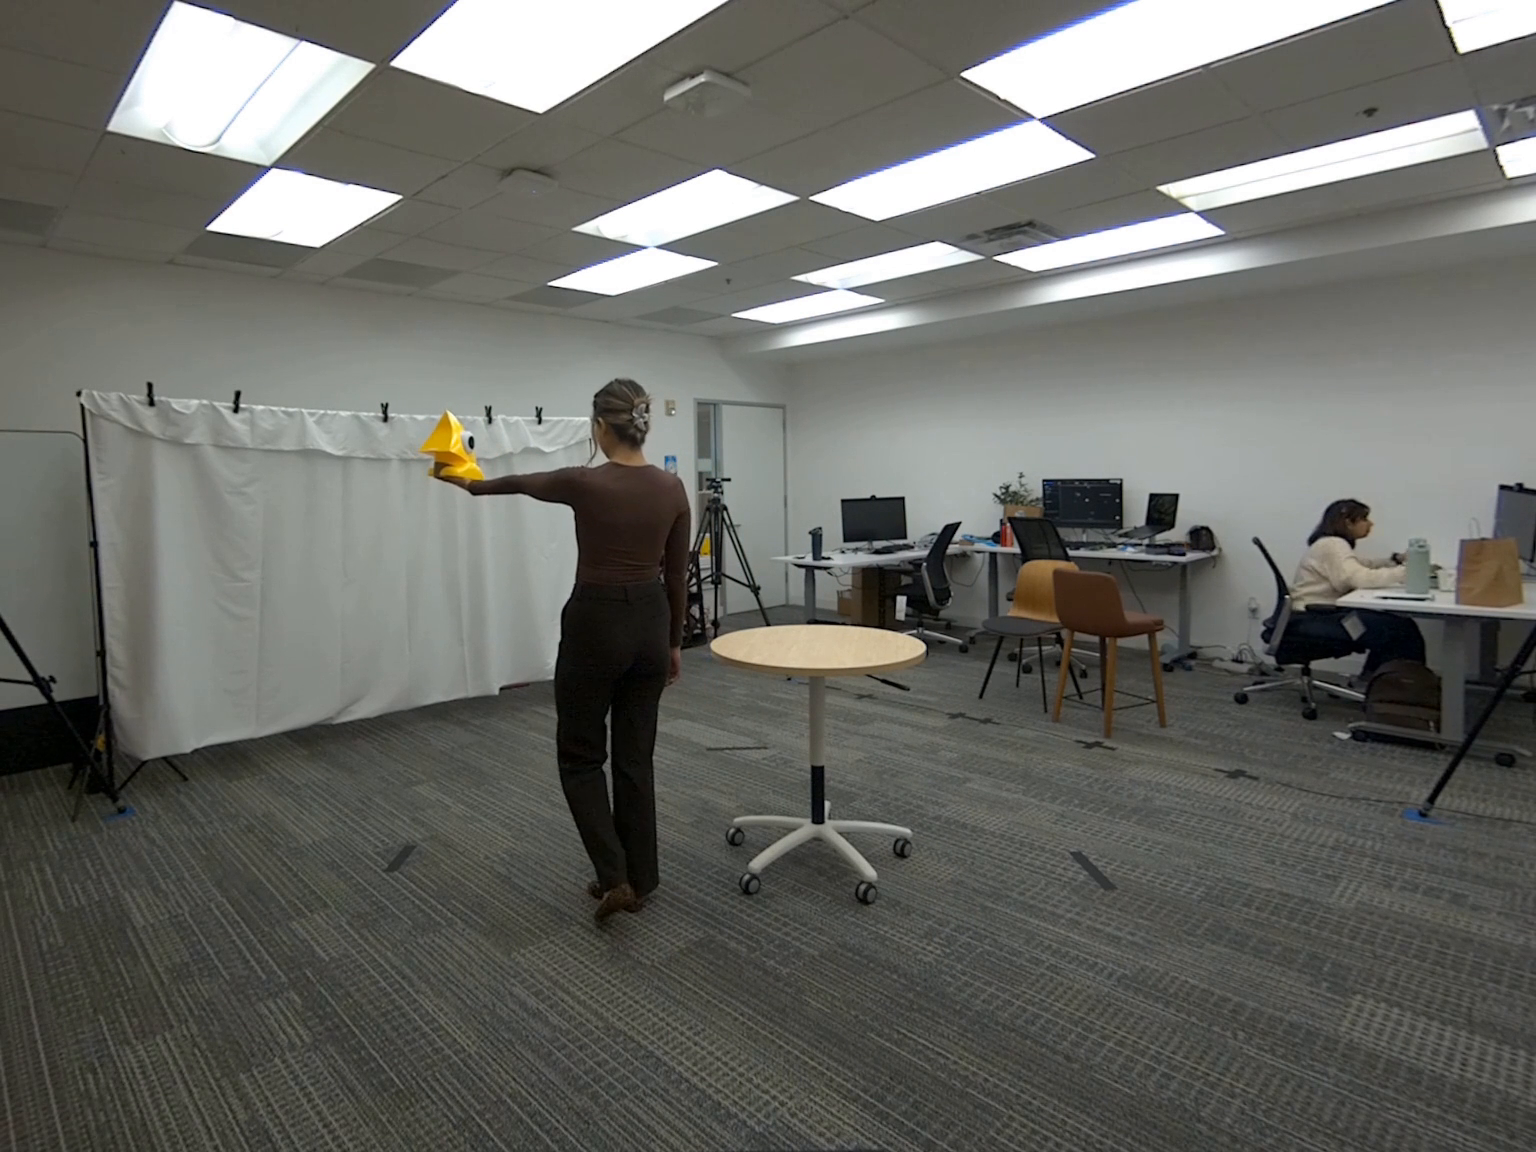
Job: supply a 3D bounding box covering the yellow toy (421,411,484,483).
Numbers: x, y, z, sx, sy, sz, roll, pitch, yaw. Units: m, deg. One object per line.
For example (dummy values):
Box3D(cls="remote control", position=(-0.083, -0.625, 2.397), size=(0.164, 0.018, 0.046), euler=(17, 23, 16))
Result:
Box3D(cls="yellow toy", position=(-1.102, -0.460, 3.032), size=(0.211, 0.231, 0.187), euler=(5, -3, 38))
